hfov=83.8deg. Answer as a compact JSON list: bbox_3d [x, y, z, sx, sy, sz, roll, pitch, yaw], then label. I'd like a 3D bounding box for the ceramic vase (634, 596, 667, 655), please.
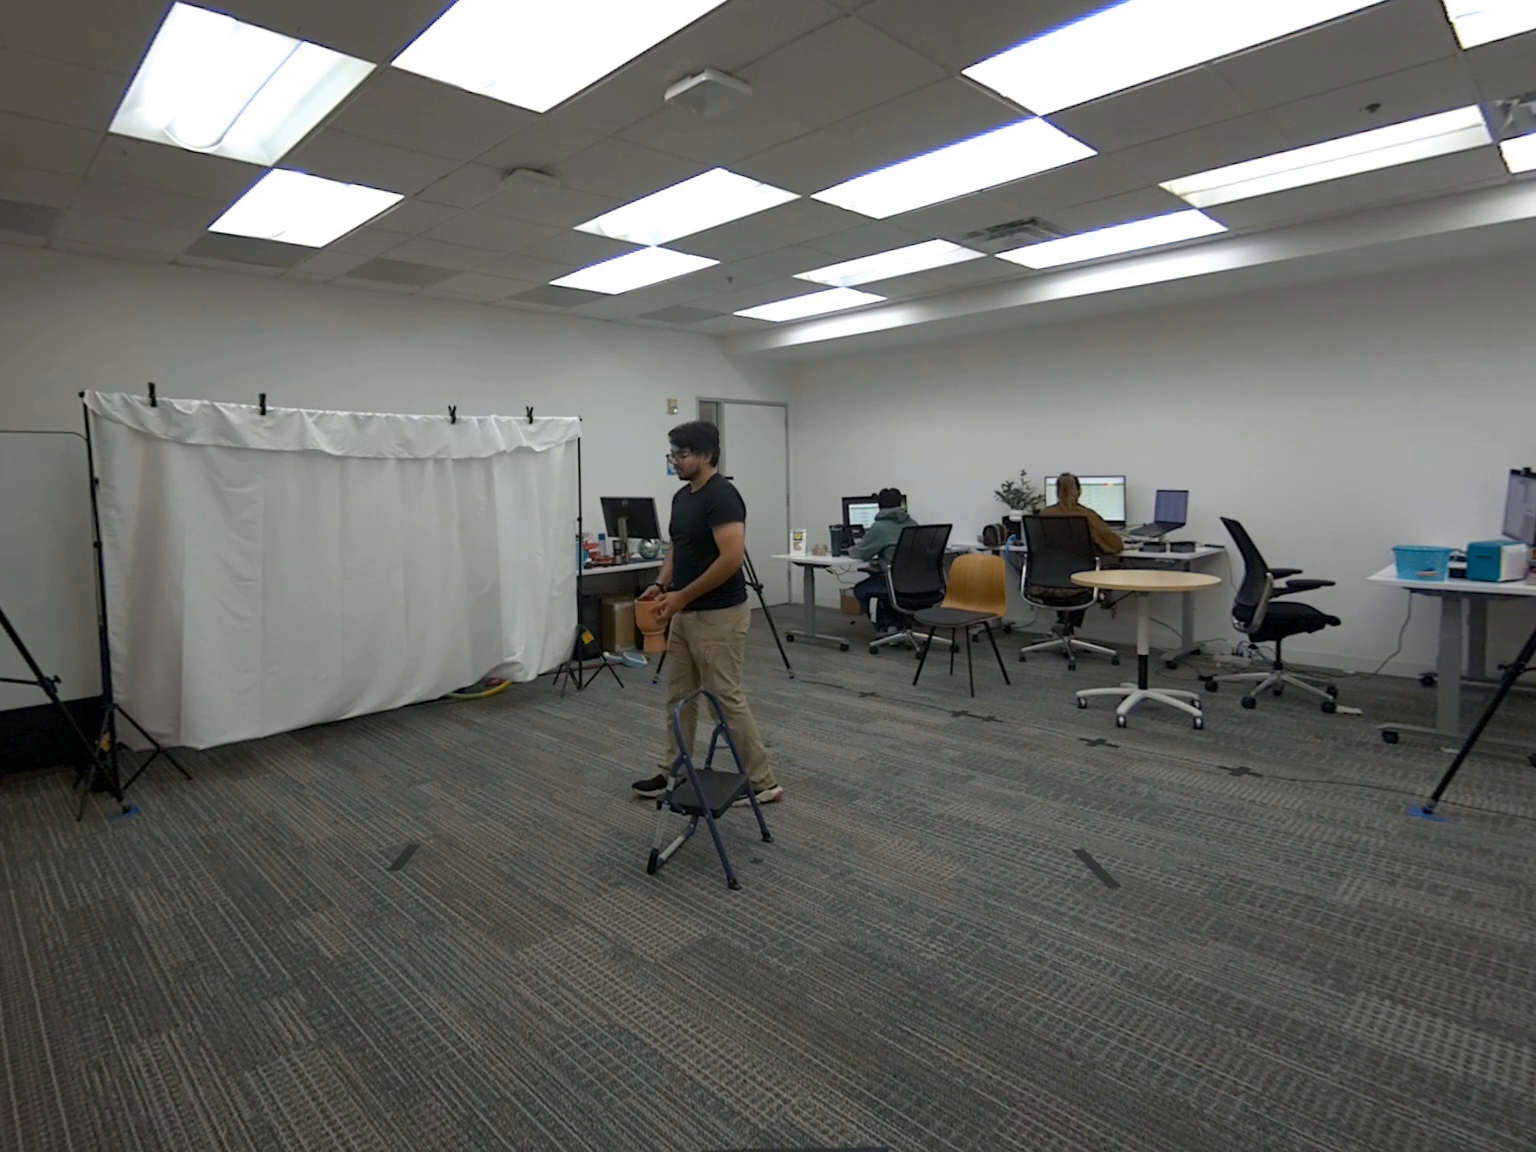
[{"bbox_3d":[-0.479,0.198,3.567,0.137,0.219,0.157,-1,5,19],"label":"ceramic vase"}]
